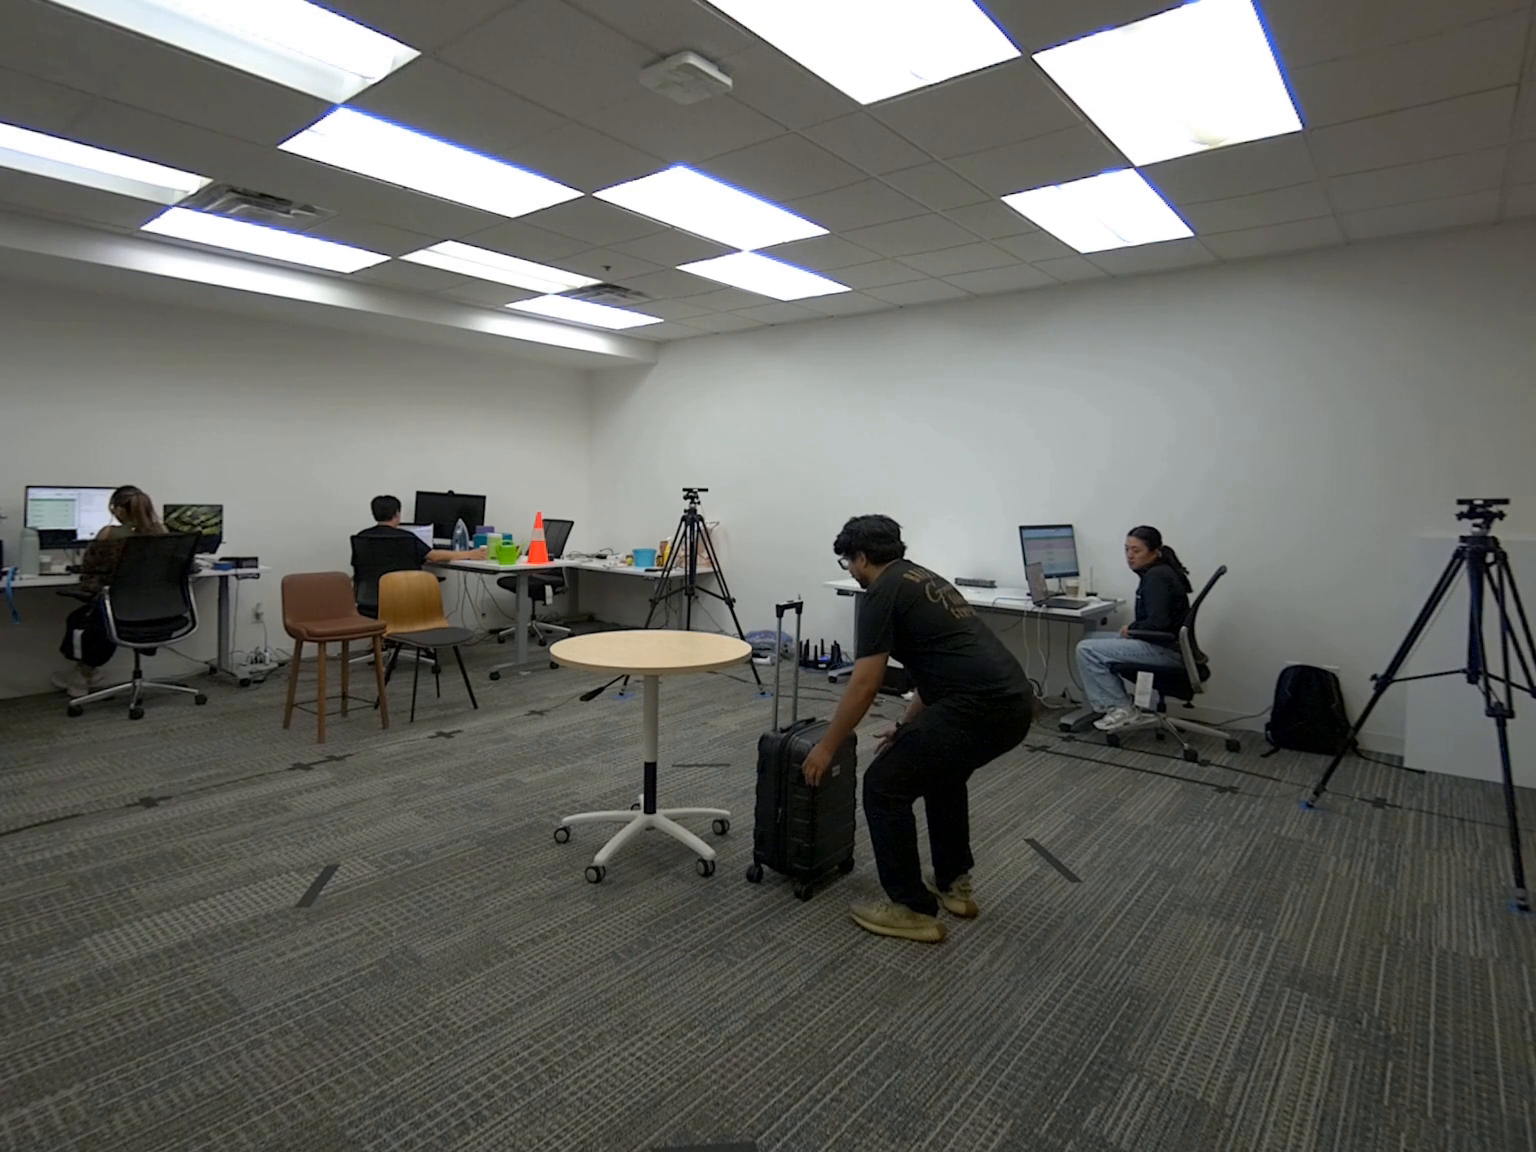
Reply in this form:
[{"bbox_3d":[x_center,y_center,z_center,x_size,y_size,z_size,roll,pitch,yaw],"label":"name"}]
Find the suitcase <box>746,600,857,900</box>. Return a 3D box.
[{"bbox_3d":[0.149,0.600,3.070,0.265,0.976,0.372,6,3,34],"label":"suitcase"}]
